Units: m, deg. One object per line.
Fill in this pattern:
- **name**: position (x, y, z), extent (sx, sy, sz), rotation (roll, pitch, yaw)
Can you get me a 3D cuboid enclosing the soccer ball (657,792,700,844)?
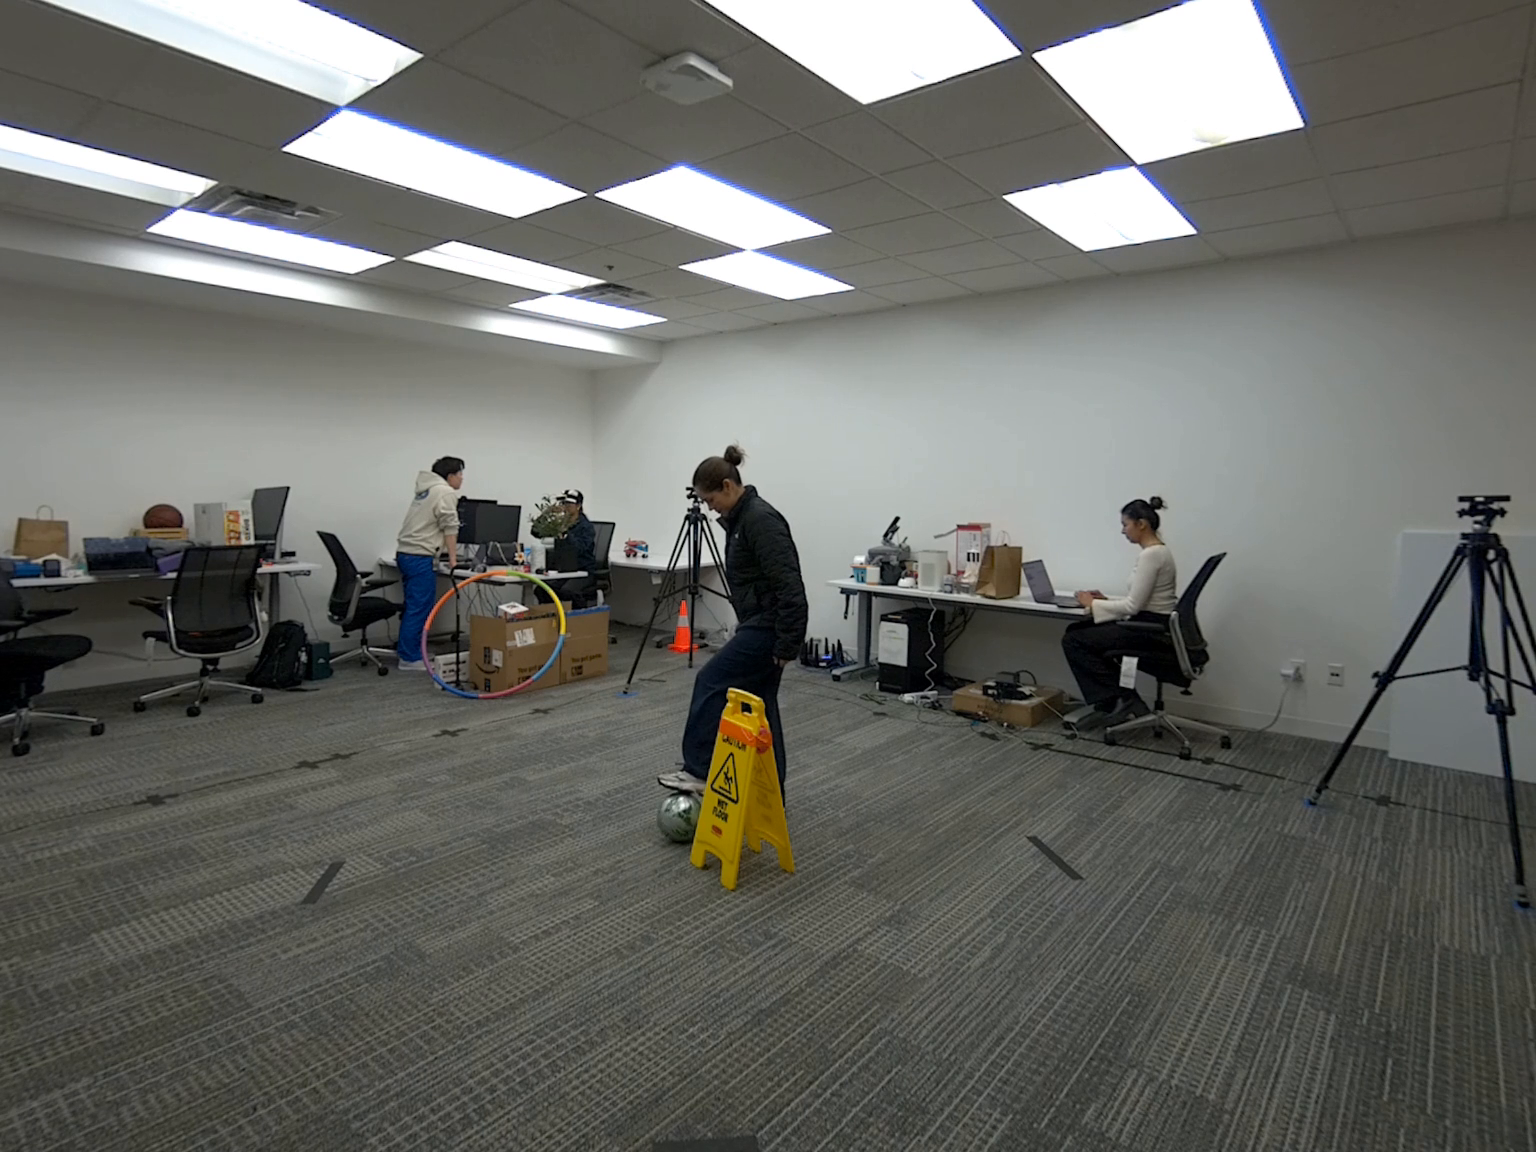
- **soccer ball**: position (-0.350, 0.944, 3.360), extent (0.187, 0.187, 0.188), rotation (1, 4, -2)
